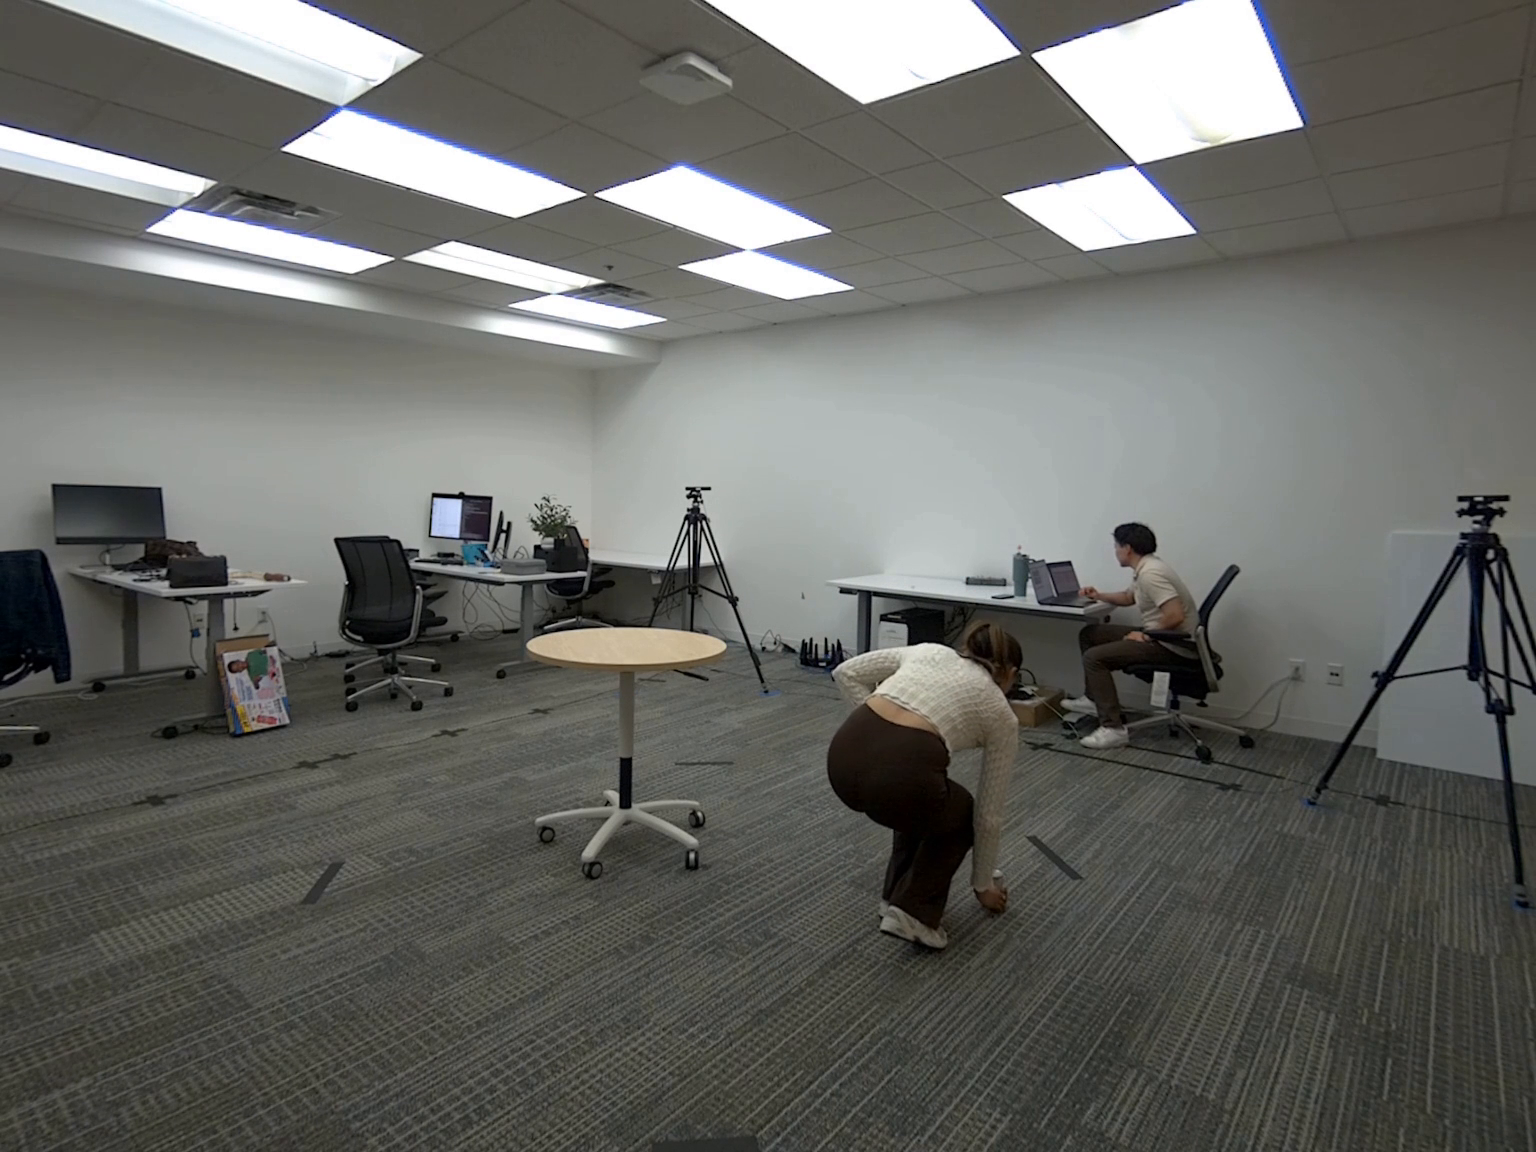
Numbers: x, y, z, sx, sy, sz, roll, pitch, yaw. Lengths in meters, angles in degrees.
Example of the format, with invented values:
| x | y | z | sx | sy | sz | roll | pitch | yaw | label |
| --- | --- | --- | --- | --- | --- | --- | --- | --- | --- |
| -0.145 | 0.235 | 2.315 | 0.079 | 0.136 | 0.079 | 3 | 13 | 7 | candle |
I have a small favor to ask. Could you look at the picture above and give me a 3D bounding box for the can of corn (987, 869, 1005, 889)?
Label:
| x | y | z | sx | sy | sz | roll | pitch | yaw | label |
| --- | --- | --- | --- | --- | --- | --- | --- | --- | --- |
| 0.740 | 1.055 | 2.870 | 0.074 | 0.110 | 0.074 | 3 | 5 | -2 | can of corn |
